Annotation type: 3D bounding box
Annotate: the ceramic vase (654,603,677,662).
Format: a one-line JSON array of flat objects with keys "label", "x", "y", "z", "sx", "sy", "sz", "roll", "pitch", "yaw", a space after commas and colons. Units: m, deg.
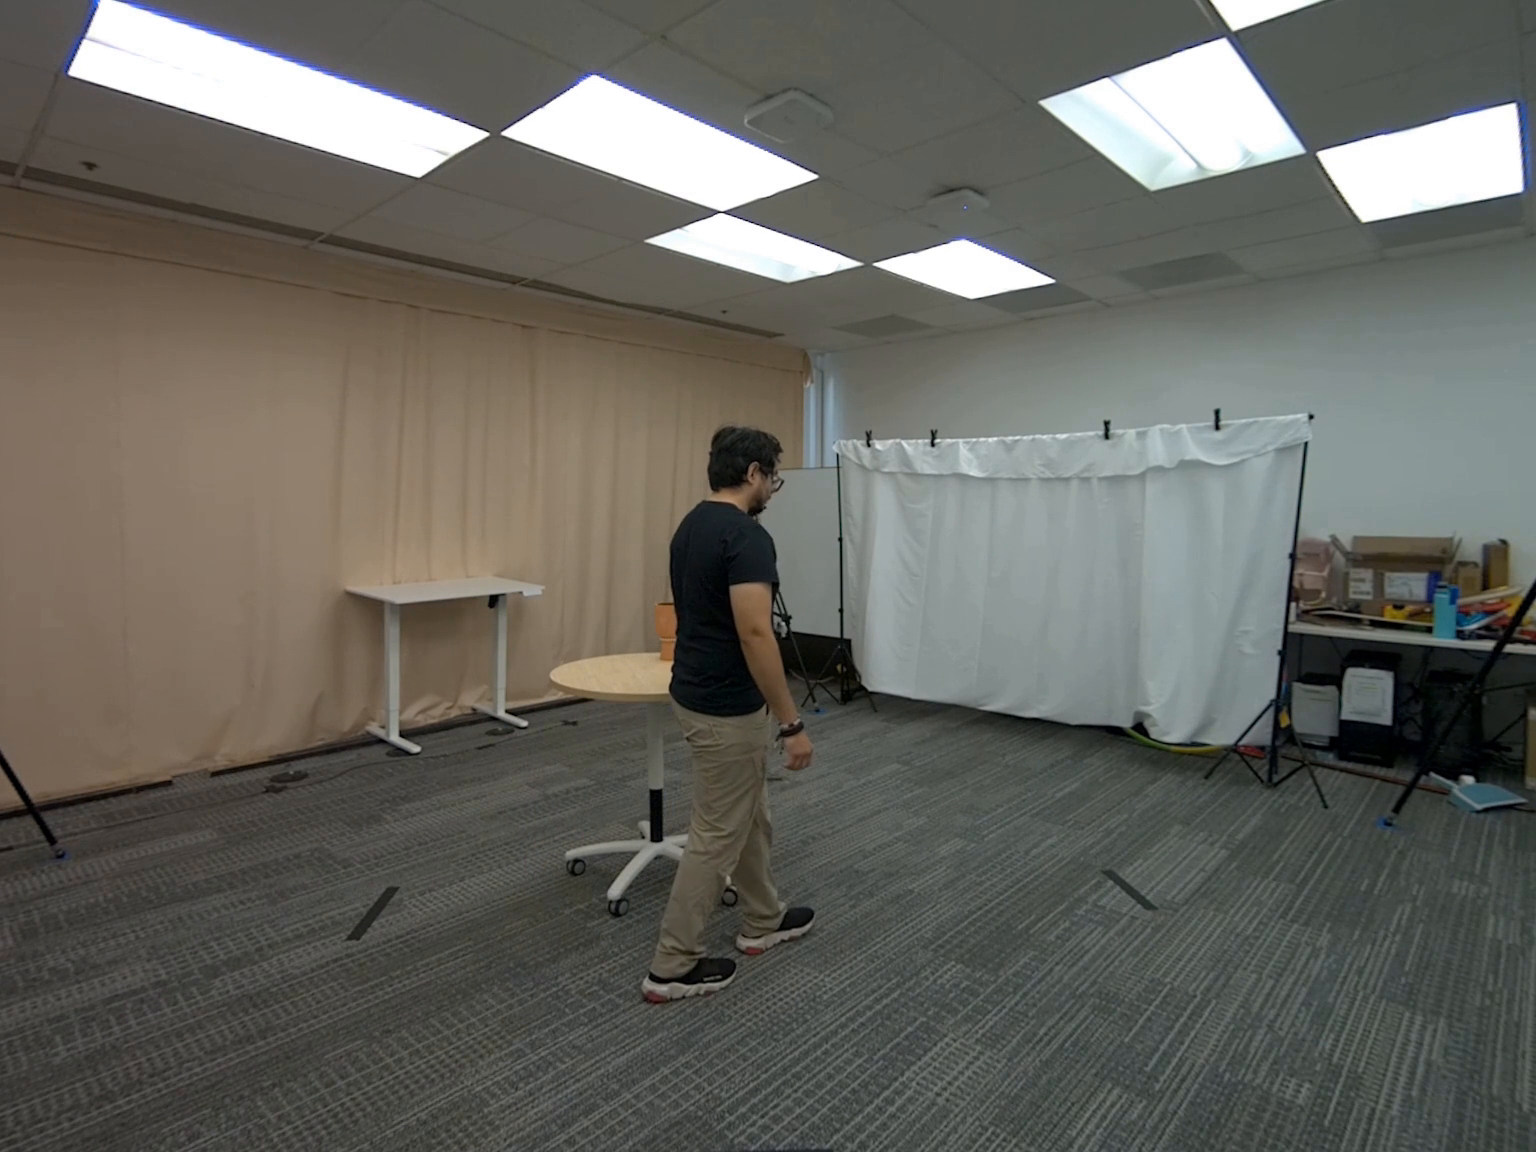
[{"label": "ceramic vase", "x": -0.387, "y": 0.223, "z": 3.367, "sx": 0.133, "sy": 0.219, "sz": 0.161, "roll": -2, "pitch": 4, "yaw": -10}]
